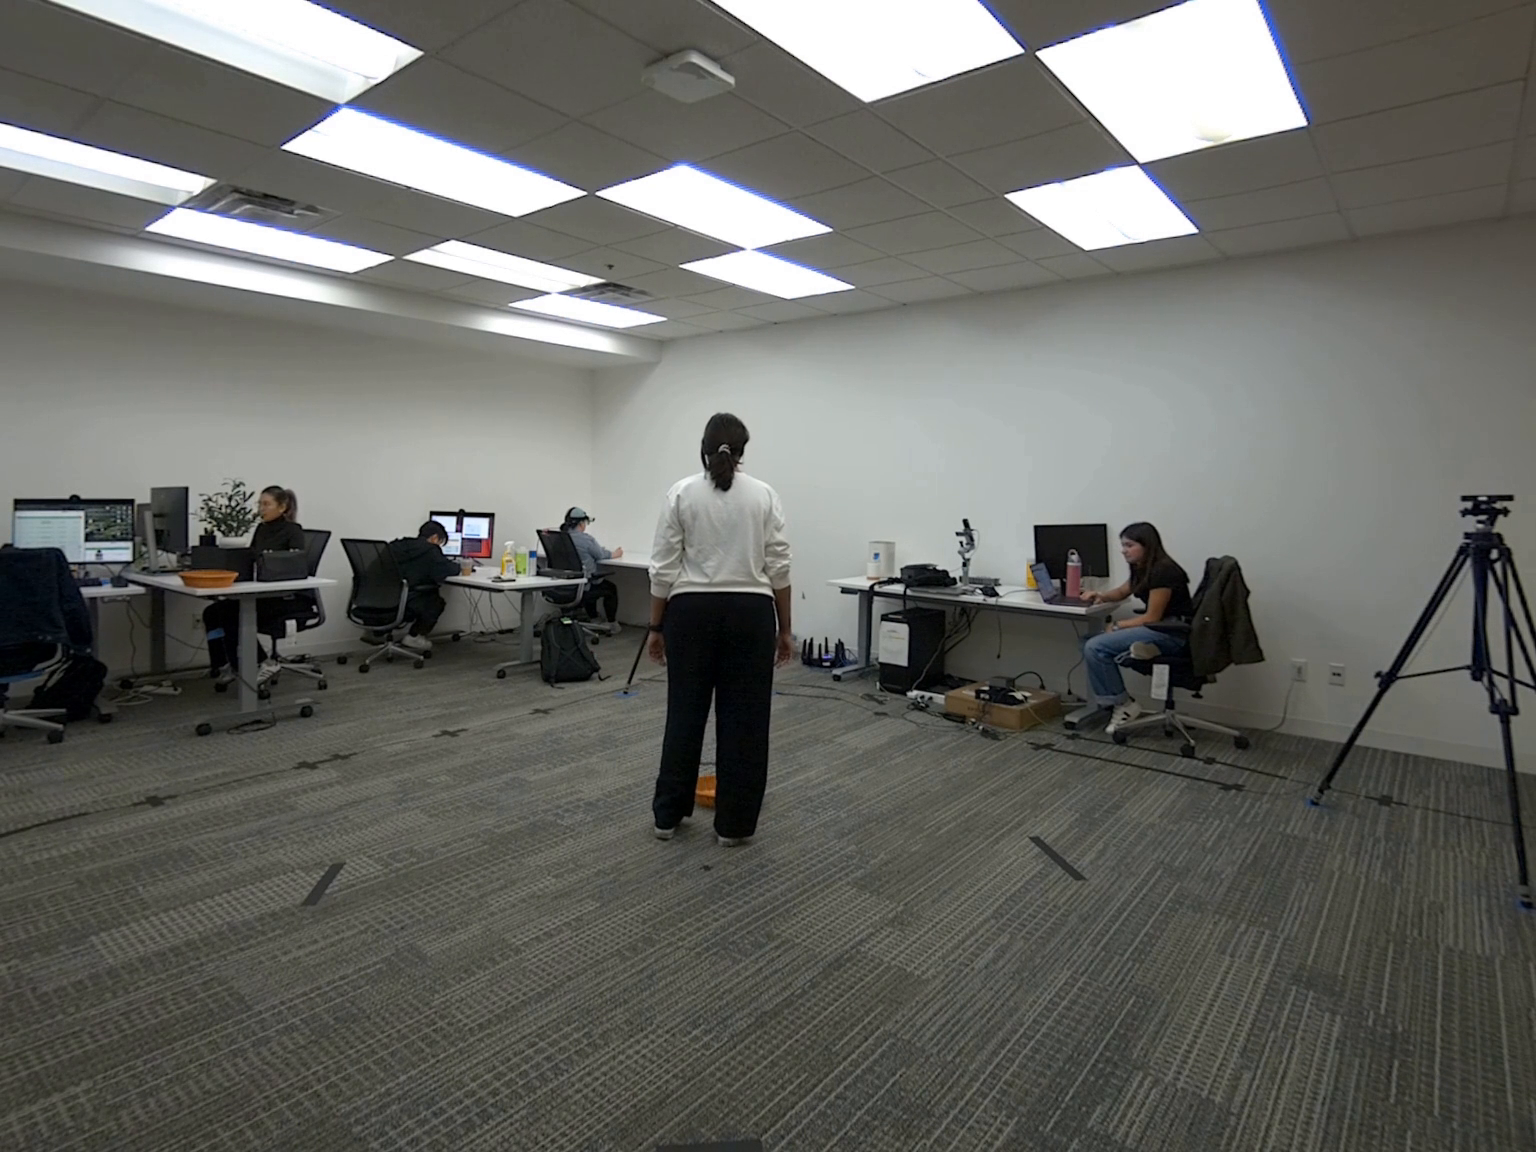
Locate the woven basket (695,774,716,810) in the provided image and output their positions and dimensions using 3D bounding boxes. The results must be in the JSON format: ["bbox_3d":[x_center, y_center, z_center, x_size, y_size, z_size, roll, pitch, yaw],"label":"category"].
[{"bbox_3d":[-0.190,0.961,3.770,0.358,0.073,0.248,3,6,20],"label":"woven basket"}]
